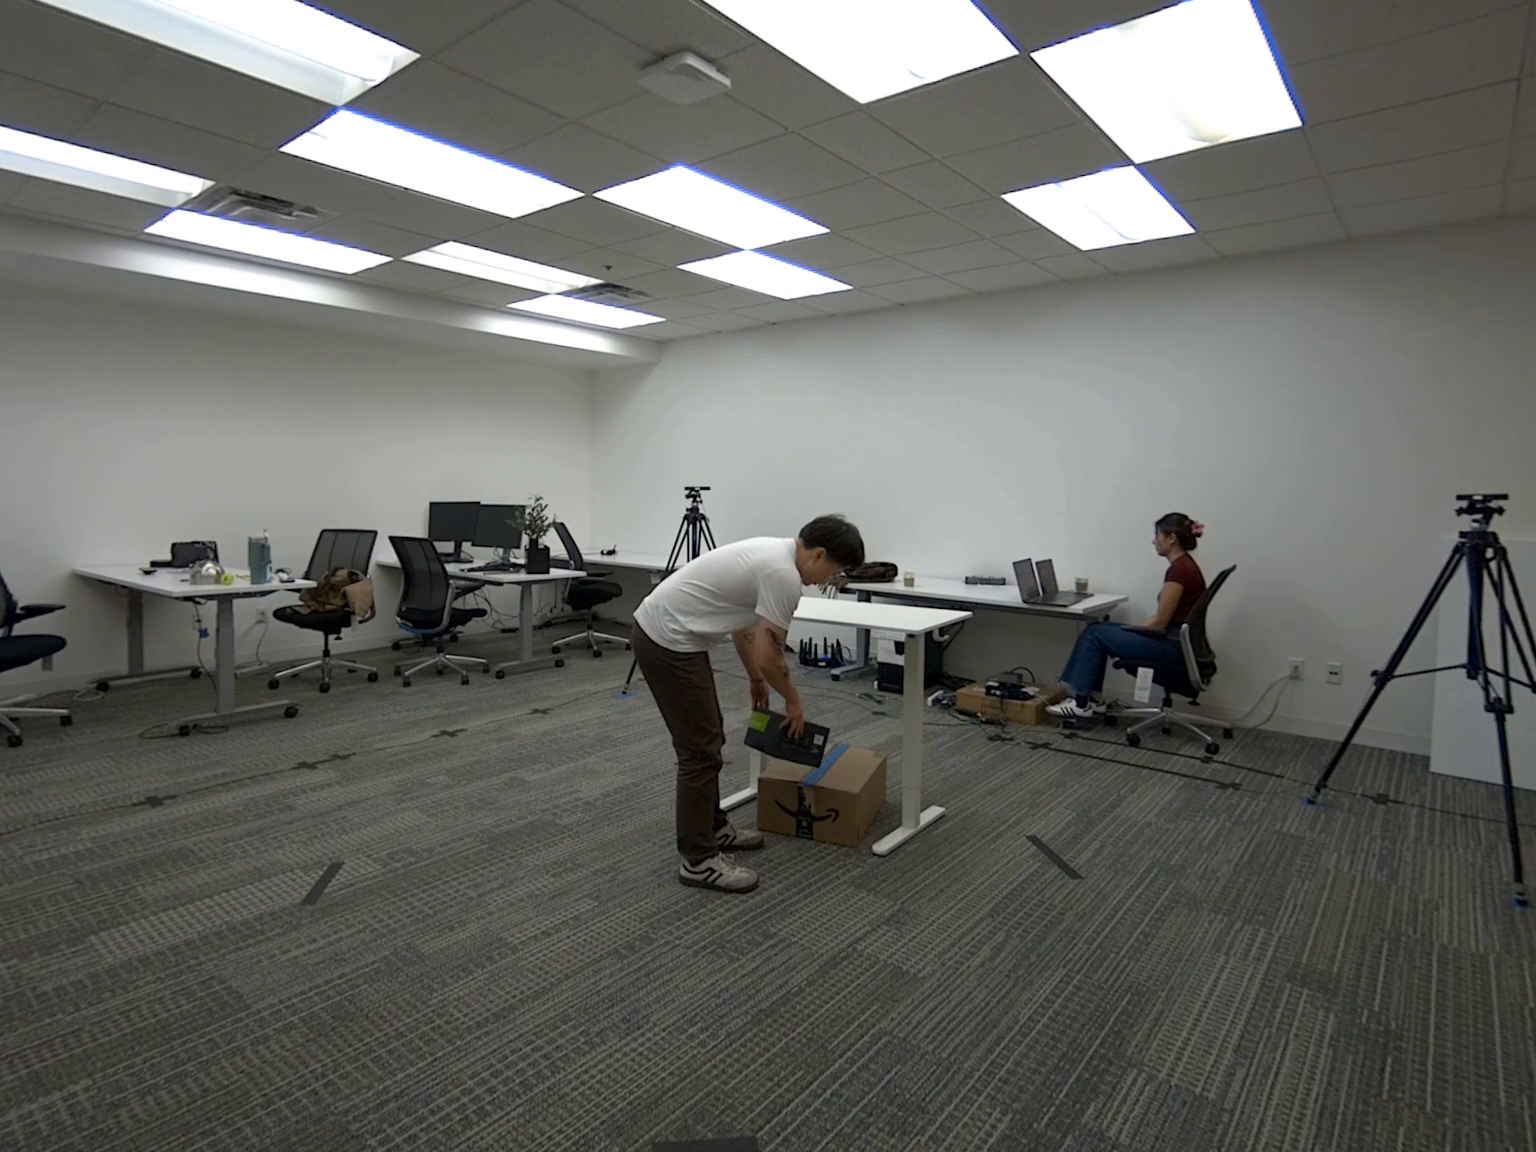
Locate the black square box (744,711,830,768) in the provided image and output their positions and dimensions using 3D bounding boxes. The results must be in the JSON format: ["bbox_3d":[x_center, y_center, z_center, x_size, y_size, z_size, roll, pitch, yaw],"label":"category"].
[{"bbox_3d":[0.065,0.610,3.256,0.210,0.157,0.234,19,-8,-29],"label":"black square box"}]
